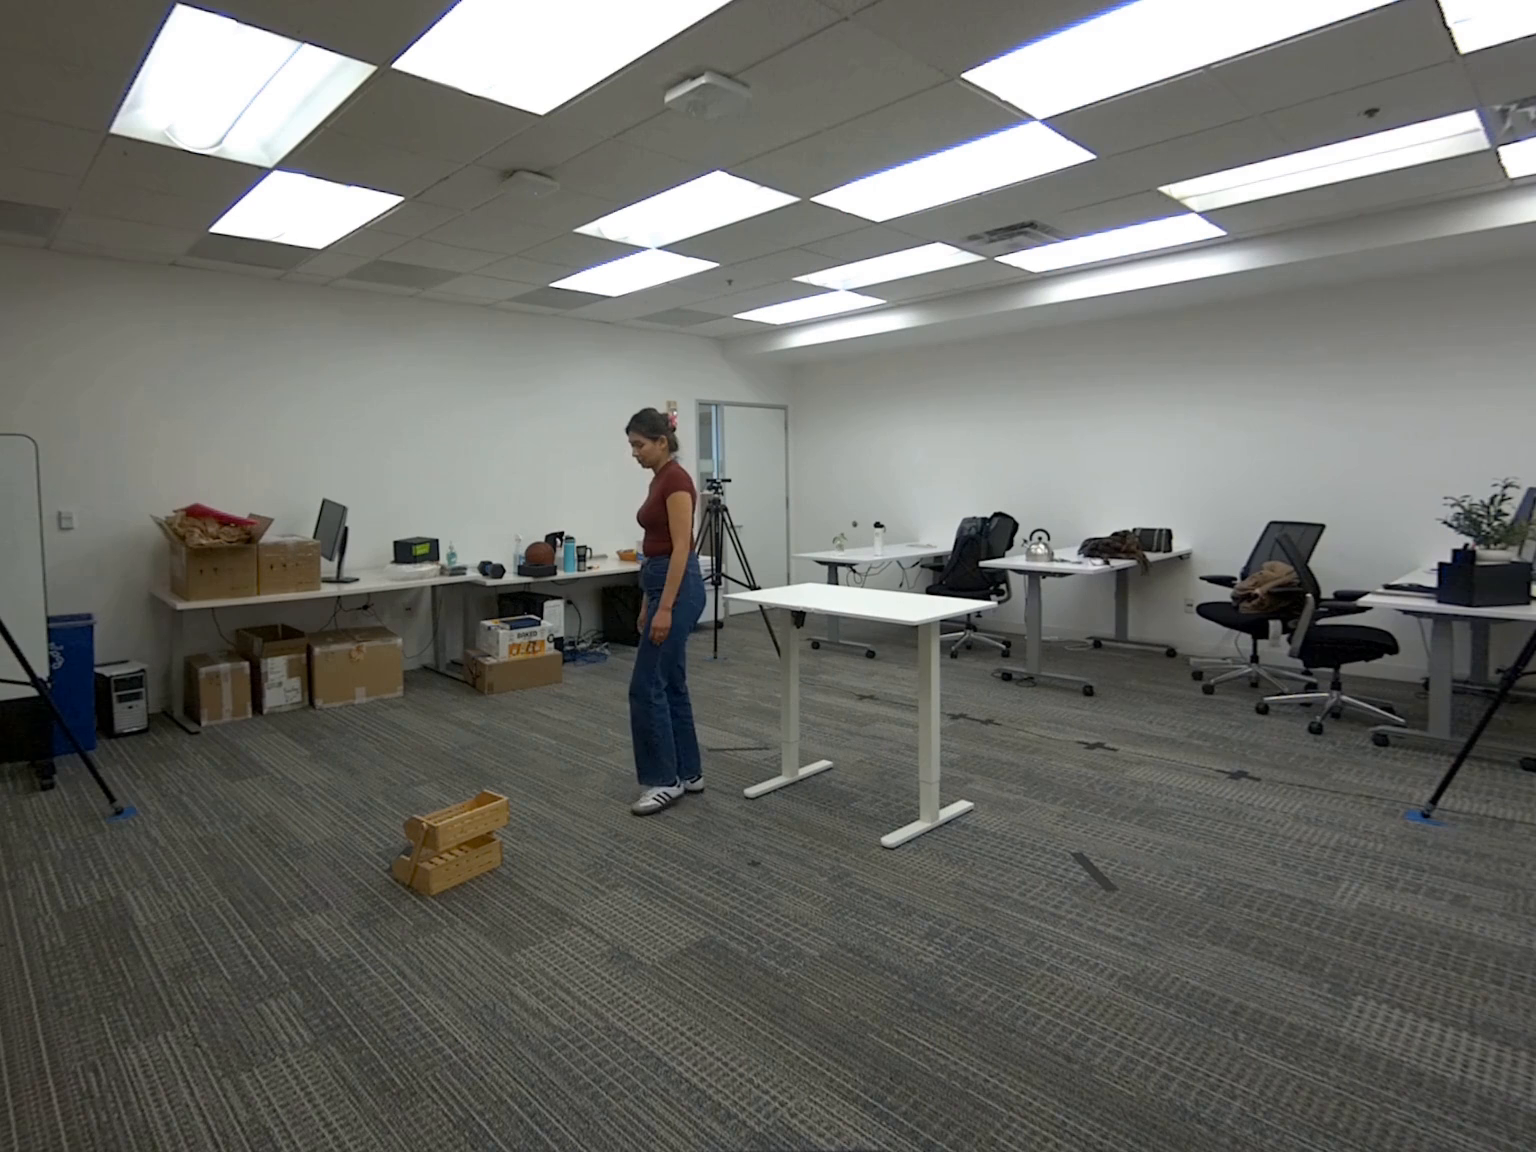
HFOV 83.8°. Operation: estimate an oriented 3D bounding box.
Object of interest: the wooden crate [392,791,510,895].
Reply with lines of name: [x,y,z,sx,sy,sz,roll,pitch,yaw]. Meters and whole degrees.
wooden crate: [-1.144,0.938,3.080,0.311,0.272,0.316,4,7,37]
